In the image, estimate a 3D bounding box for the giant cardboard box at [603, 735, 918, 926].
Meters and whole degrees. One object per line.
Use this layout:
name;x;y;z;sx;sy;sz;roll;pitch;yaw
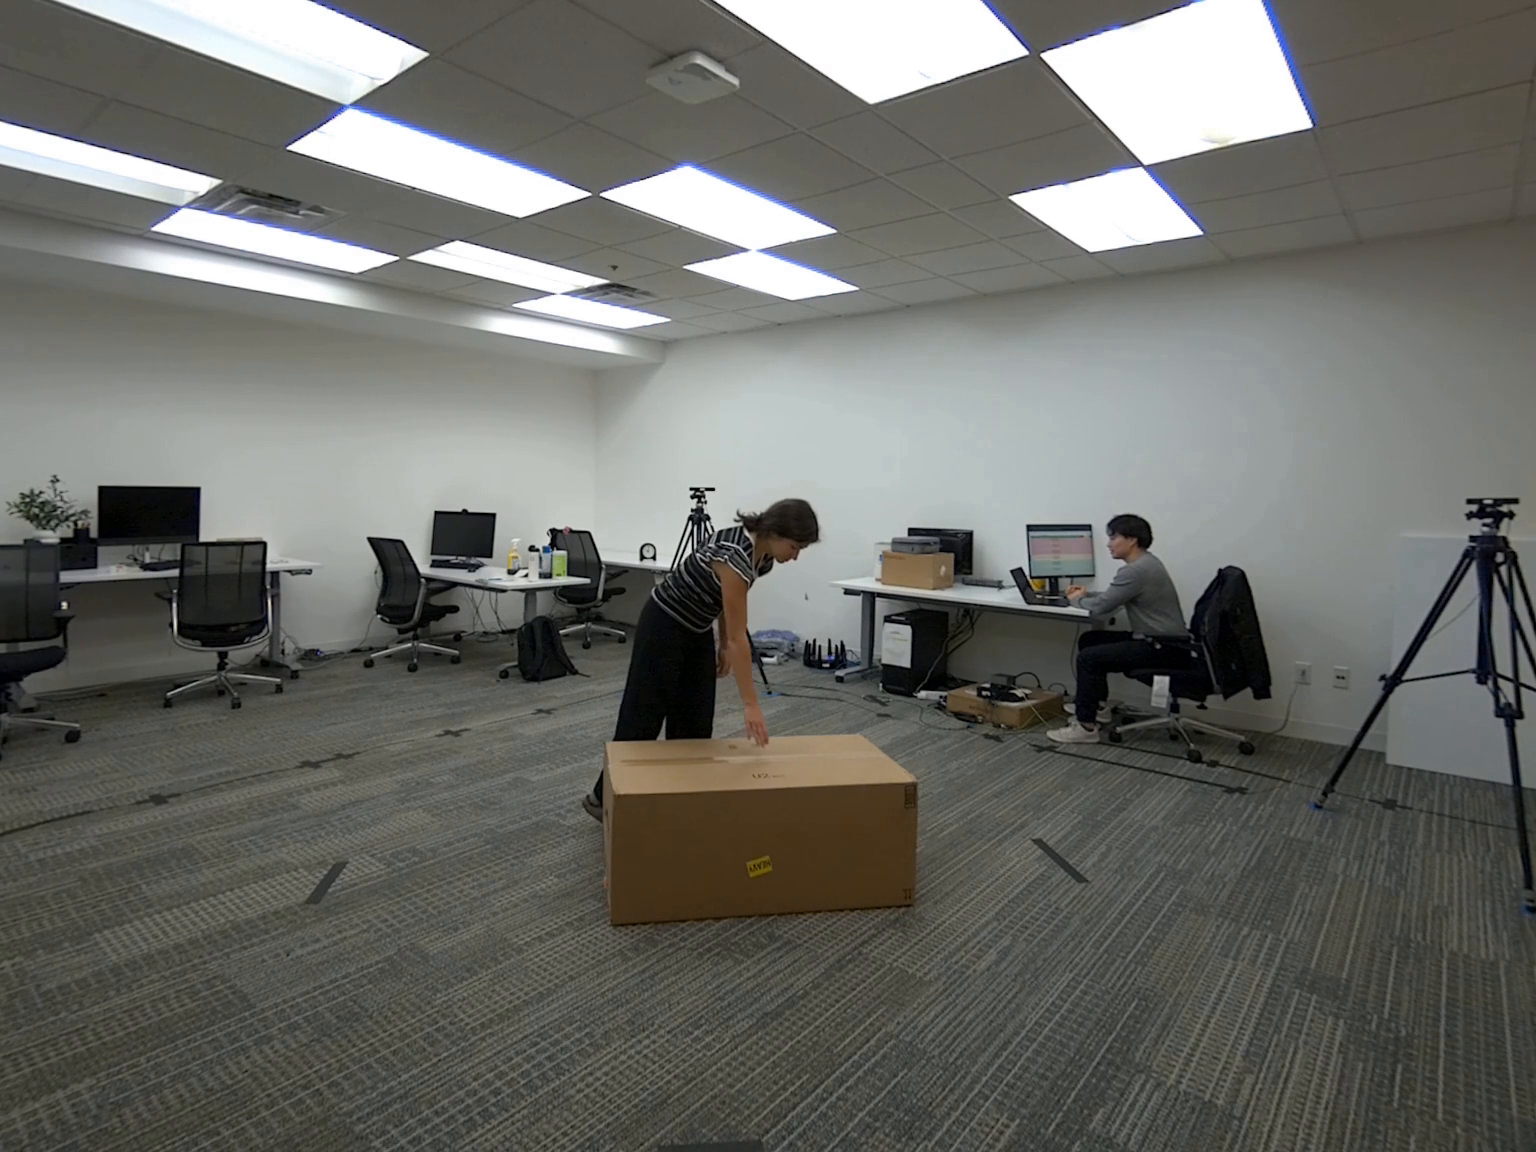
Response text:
giant cardboard box;-0.067;0.865;3.037;1.014;0.425;0.586;0;4;-11
